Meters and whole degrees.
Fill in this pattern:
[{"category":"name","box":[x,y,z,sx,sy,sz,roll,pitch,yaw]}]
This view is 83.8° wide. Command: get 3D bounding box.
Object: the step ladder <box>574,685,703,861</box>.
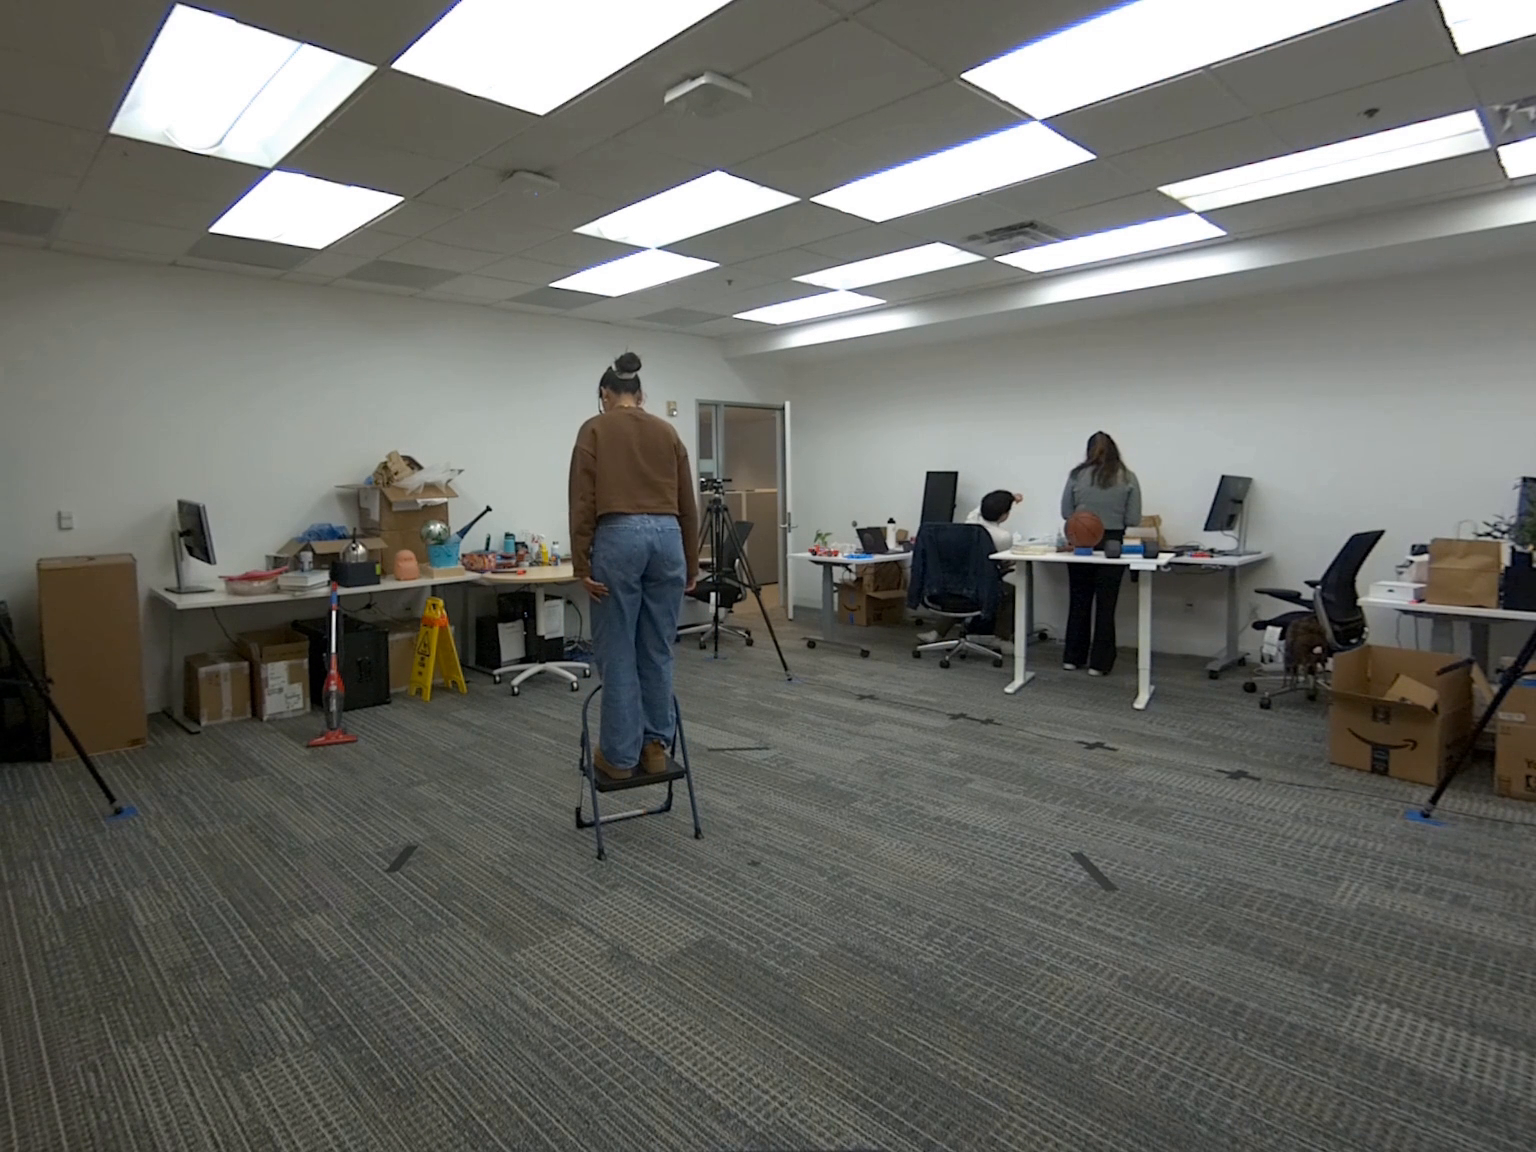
[{"category":"step ladder","box":[-0.526,0.719,3.385,0.421,0.604,0.358,-4,4,-28]}]
